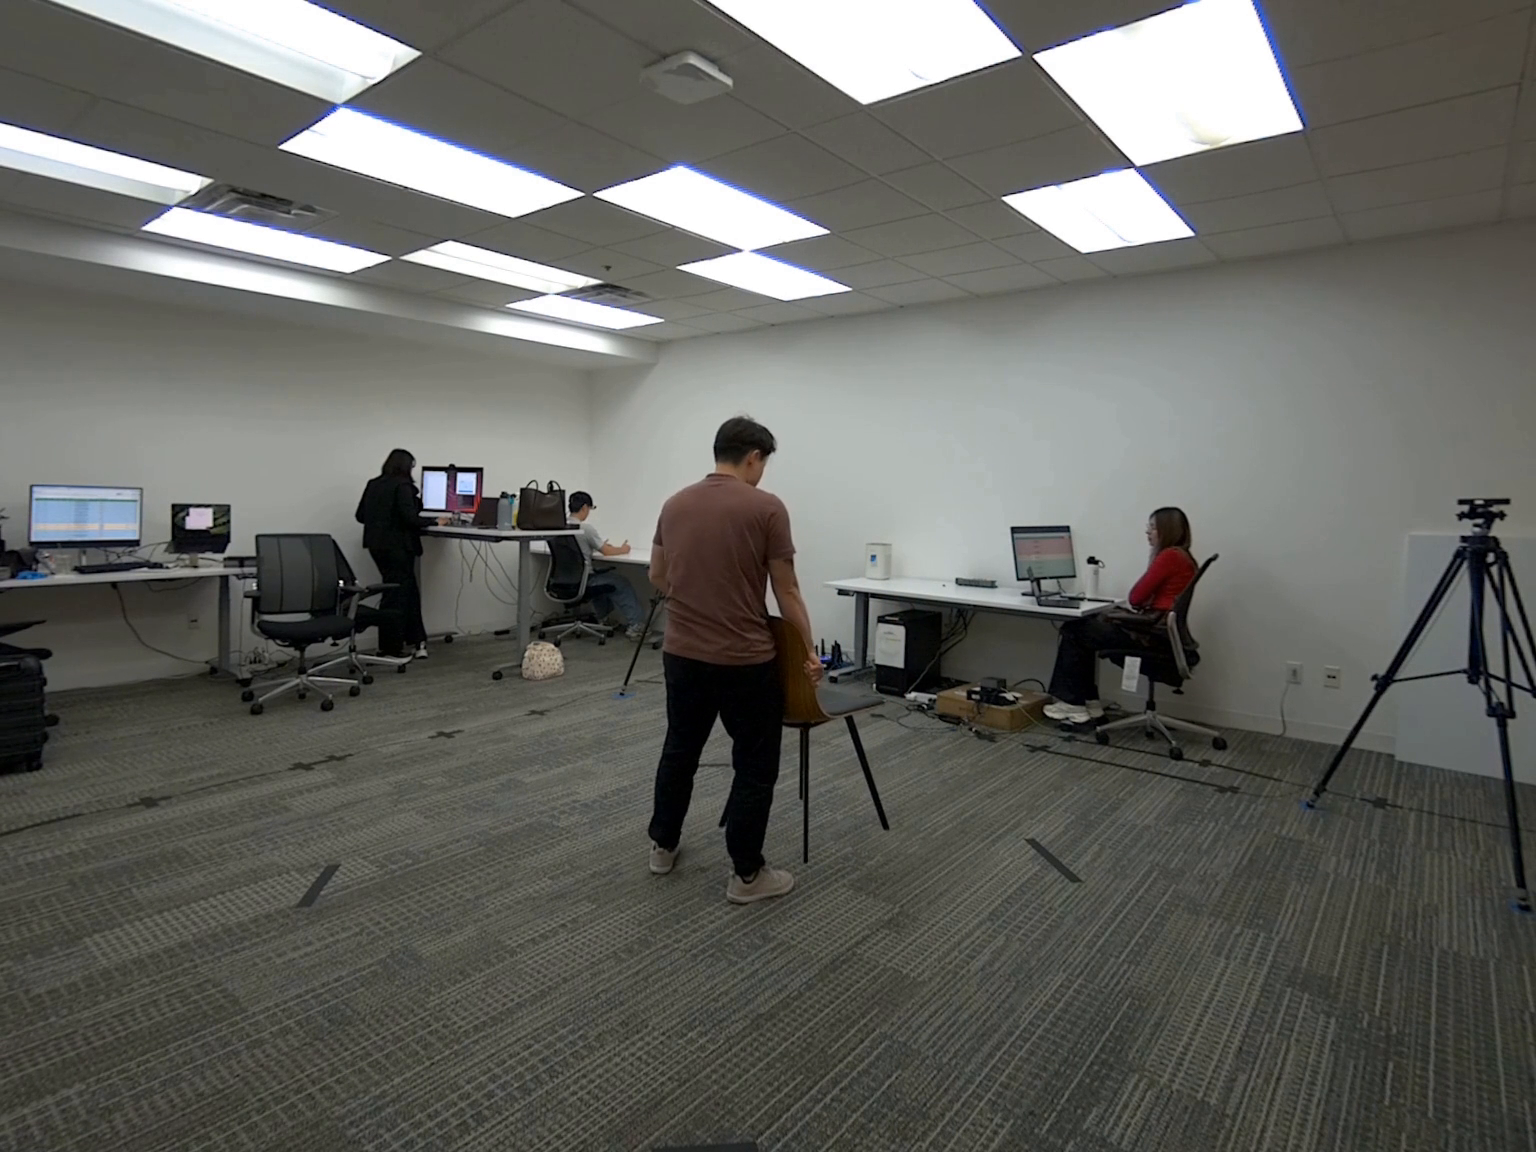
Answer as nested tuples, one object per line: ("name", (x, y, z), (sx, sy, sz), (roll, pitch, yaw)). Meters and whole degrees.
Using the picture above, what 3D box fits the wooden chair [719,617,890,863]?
("wooden chair", (0.127, 0.519, 3.177), (0.509, 0.873, 0.493), (-9, 7, -41))
